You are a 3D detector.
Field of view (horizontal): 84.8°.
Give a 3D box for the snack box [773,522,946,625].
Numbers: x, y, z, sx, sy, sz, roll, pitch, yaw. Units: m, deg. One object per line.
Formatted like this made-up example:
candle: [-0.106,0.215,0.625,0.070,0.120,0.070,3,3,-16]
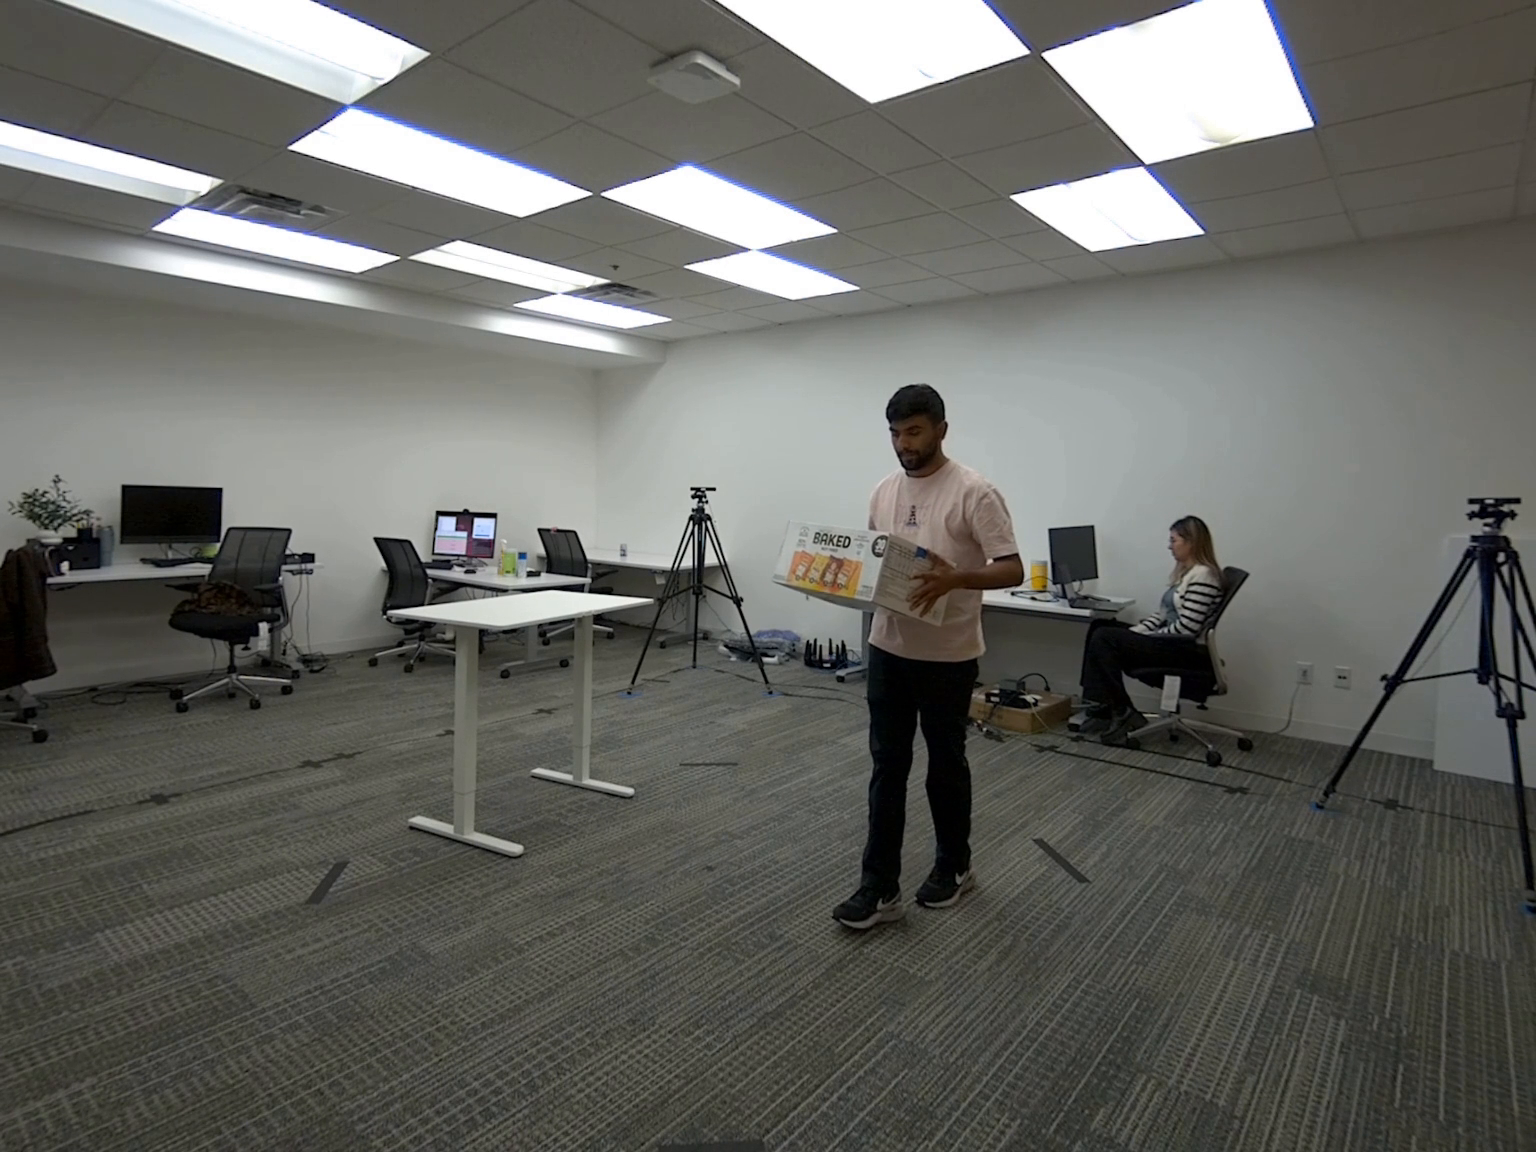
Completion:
snack box: [0.281,-0.015,2.618,0.327,0.206,0.420,19,-5,-43]
